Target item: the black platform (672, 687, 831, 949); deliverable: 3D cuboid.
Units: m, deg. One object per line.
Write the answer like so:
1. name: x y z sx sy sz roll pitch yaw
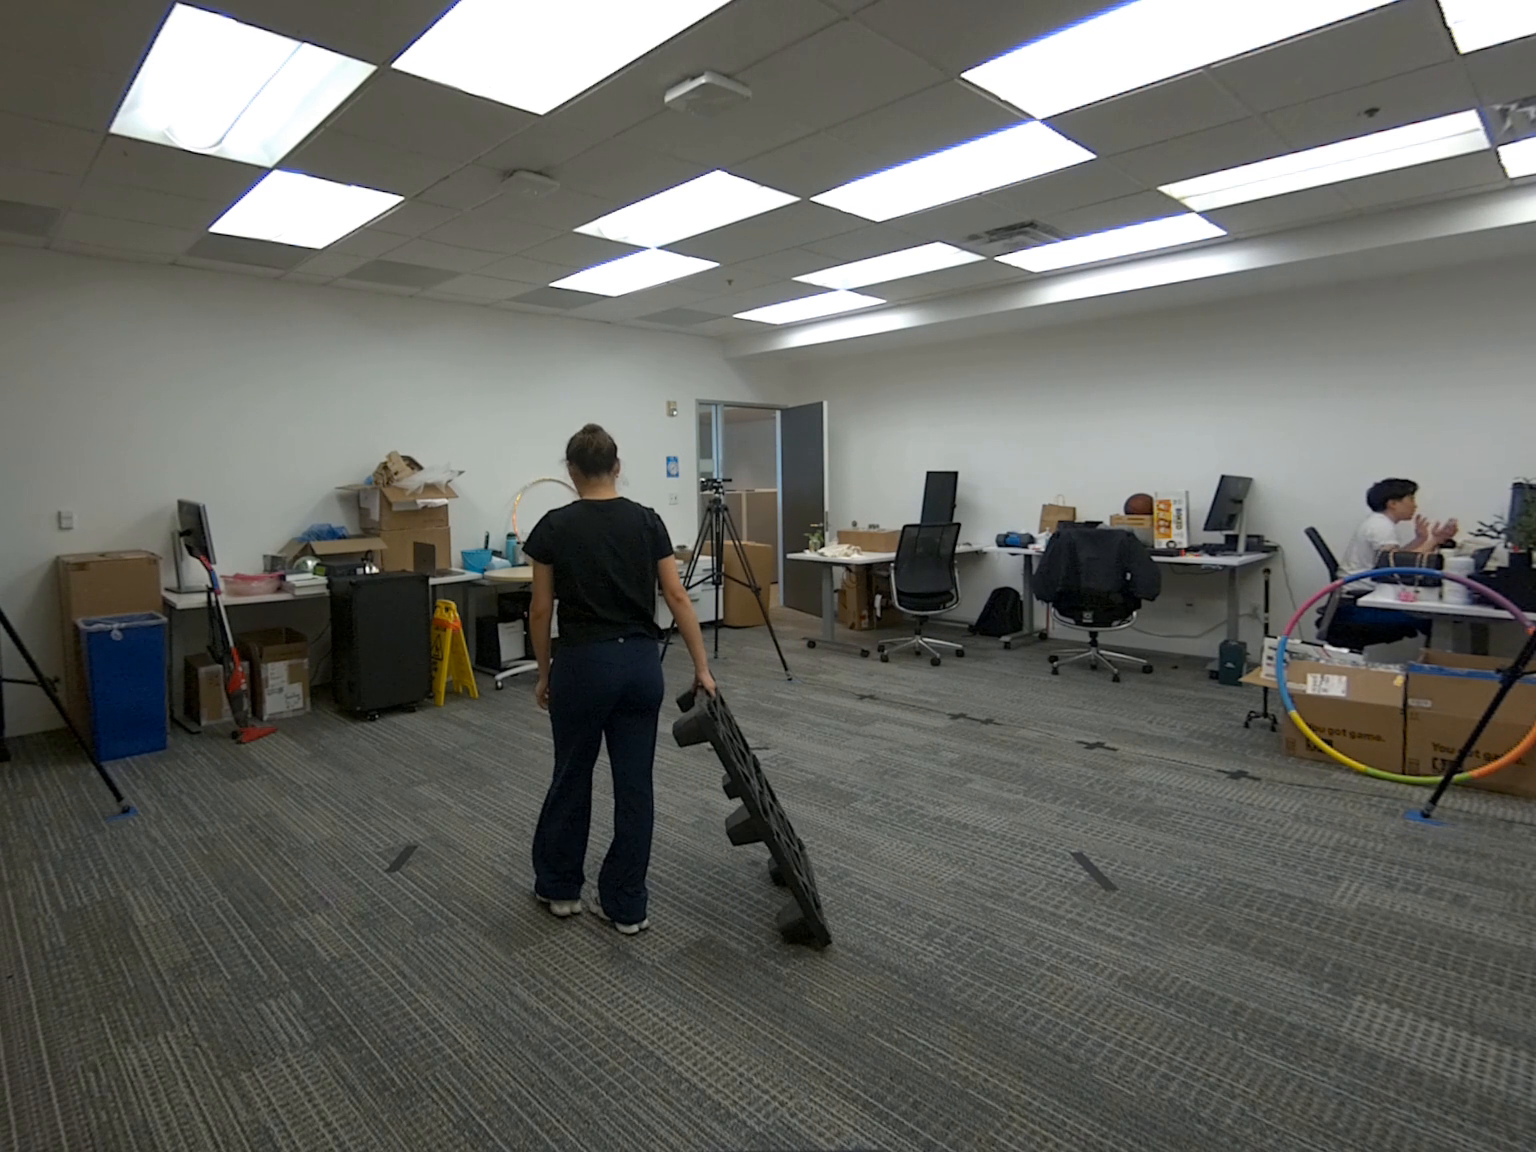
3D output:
1. black platform: -0.073 0.727 2.791 0.143 0.801 0.609 -28 5 -3
